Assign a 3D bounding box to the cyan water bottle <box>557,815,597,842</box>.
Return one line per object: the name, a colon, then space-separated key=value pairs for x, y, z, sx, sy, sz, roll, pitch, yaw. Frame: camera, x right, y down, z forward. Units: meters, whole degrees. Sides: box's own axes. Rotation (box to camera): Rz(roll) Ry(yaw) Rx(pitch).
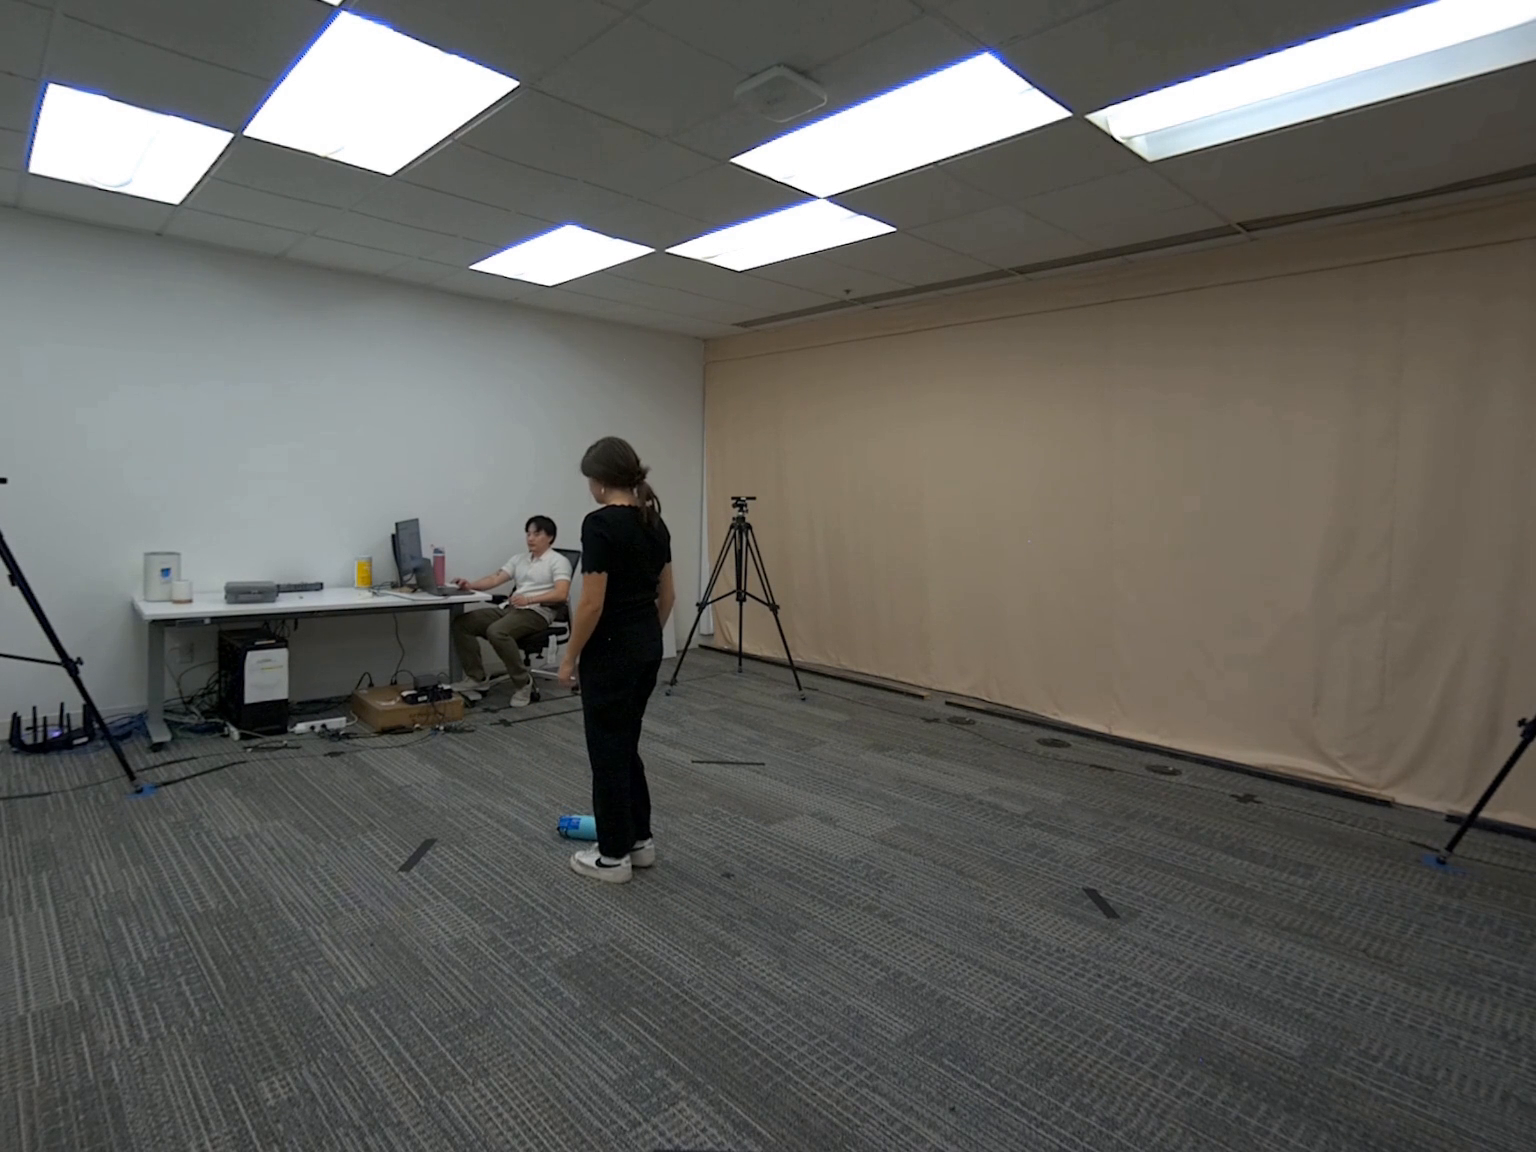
cyan water bottle: x=-0.730 y=1.020 z=3.407 sx=0.286 sy=0.092 sz=0.092 roll=4 pitch=5 yaw=11
